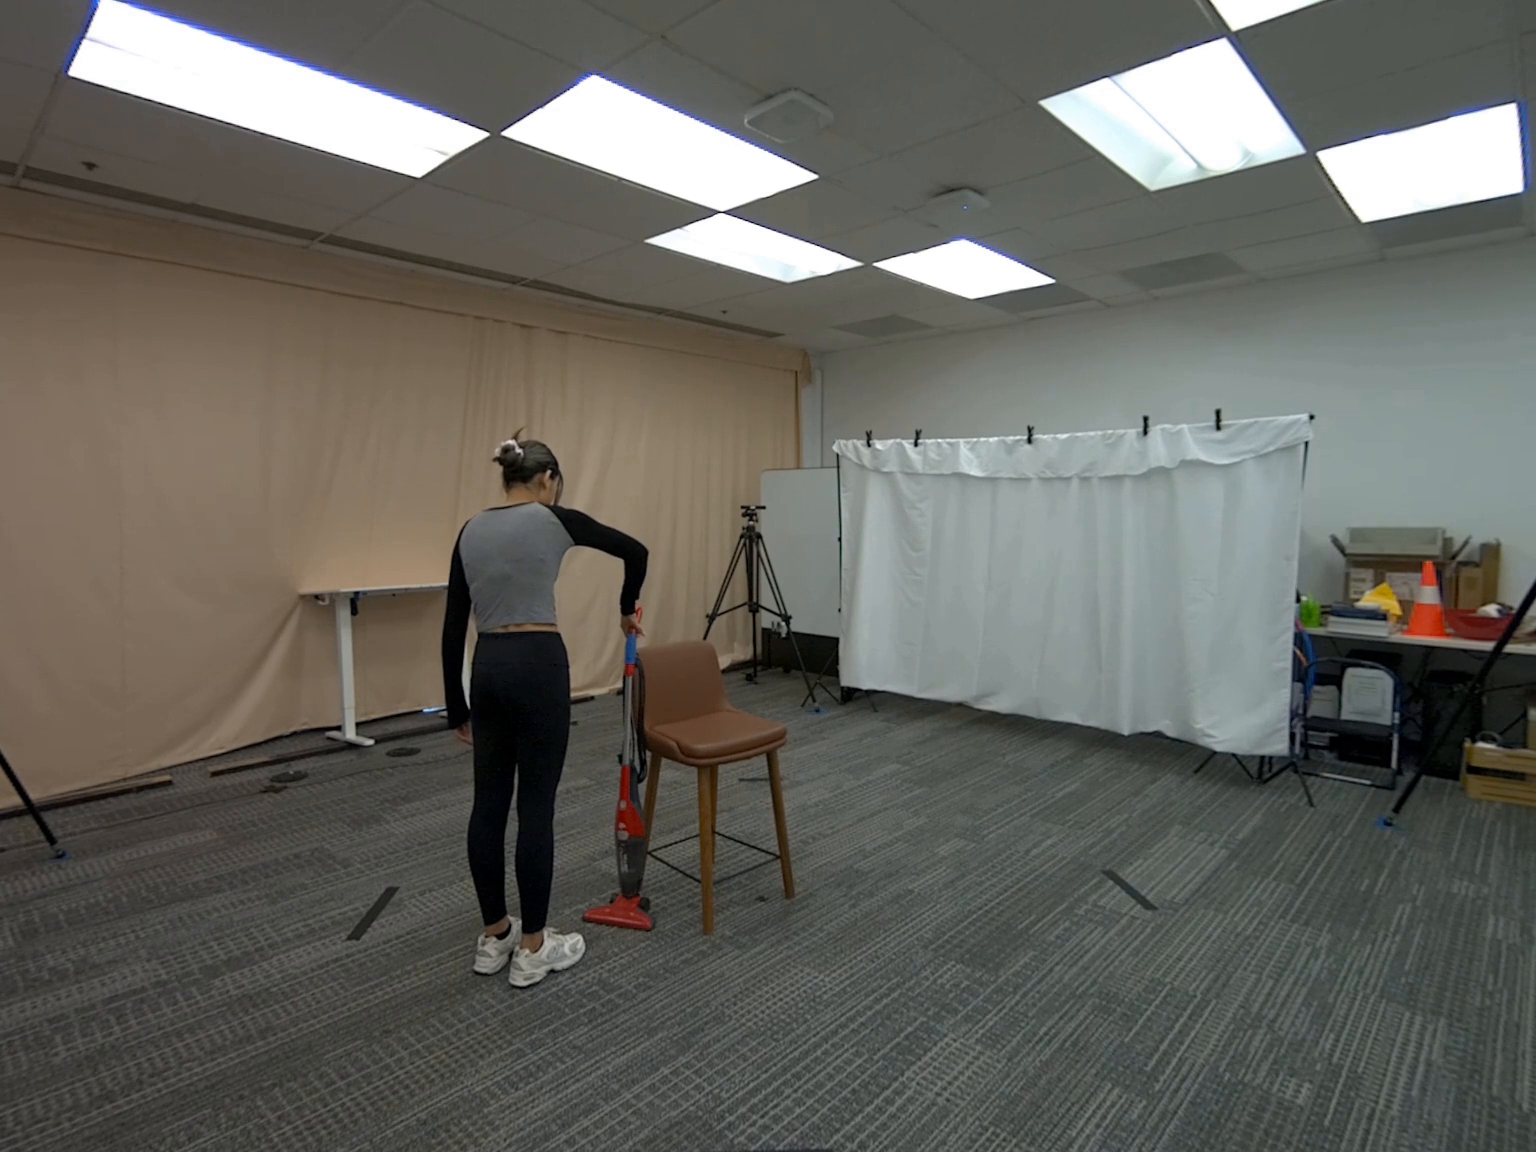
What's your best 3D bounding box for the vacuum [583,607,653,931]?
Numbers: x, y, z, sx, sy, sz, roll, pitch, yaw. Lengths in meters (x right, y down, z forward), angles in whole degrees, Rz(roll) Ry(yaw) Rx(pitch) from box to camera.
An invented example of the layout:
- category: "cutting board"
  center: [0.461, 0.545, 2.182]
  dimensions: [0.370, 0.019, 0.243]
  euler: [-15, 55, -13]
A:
- category: "vacuum"
  center: [-0.473, 0.635, 2.901]
  dimensions: [0.245, 1.049, 0.149]
  euler: [4, 1, -37]
